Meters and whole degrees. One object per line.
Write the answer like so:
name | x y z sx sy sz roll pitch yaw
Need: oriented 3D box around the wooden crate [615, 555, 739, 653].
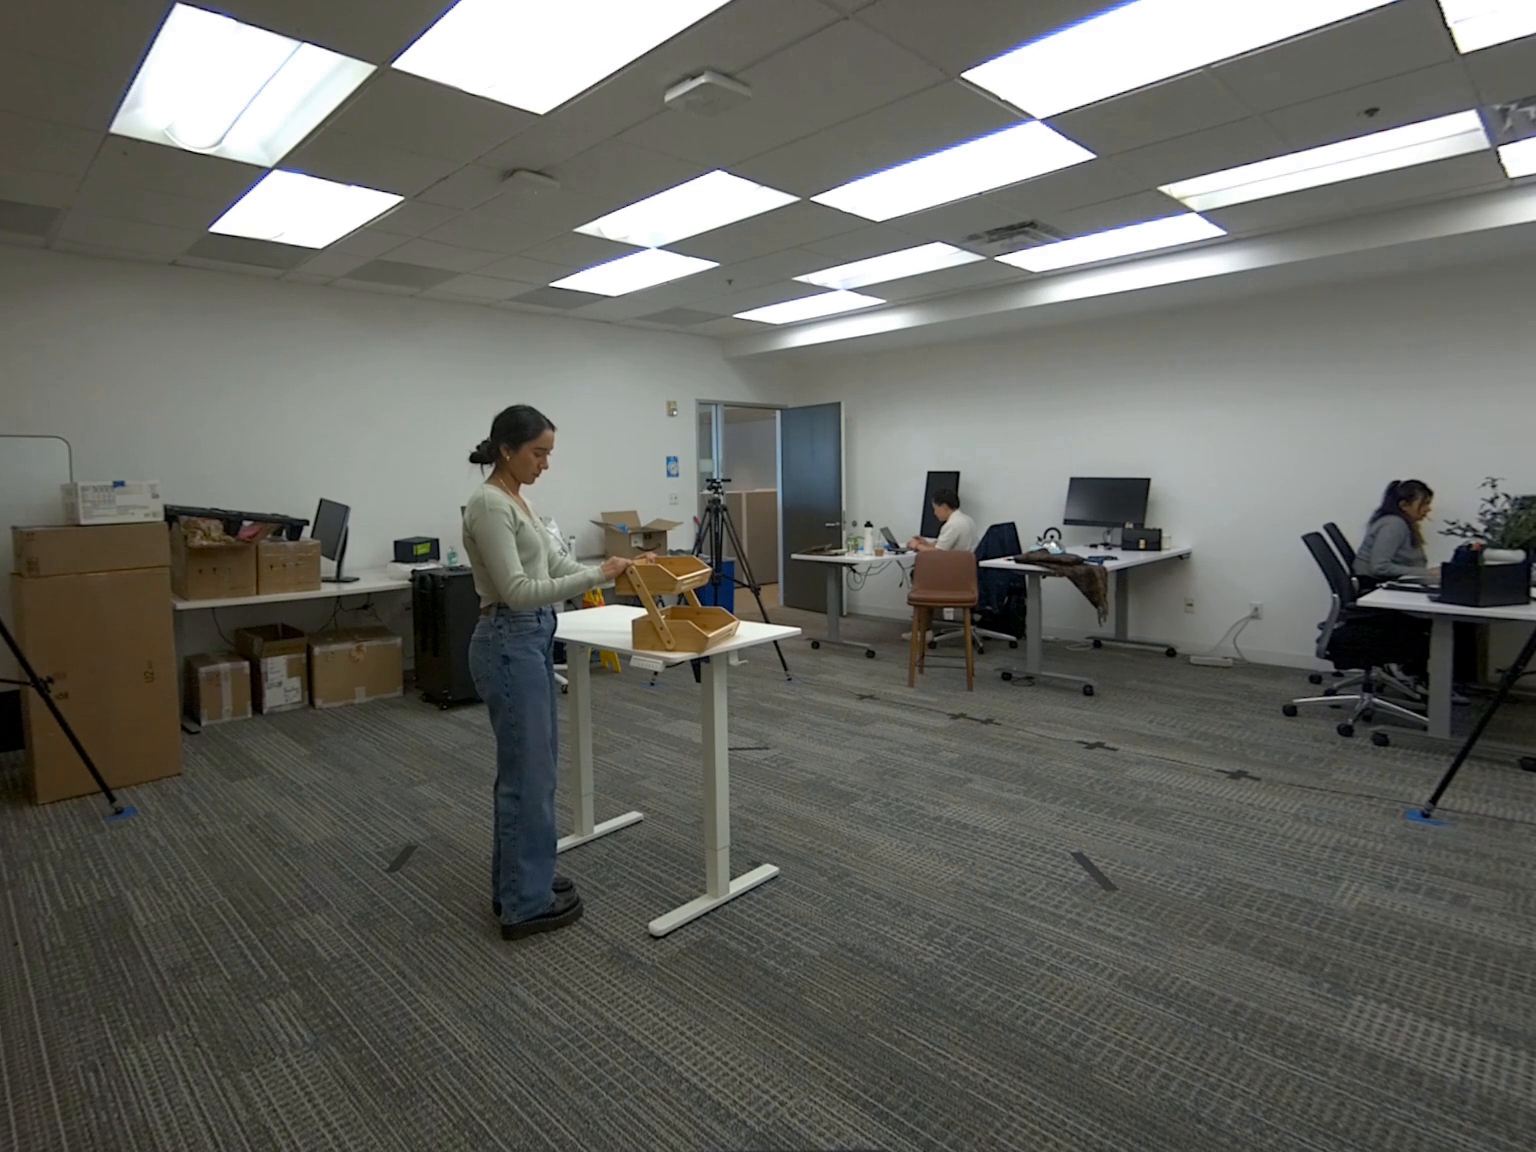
wooden crate | -0.282 0.075 2.702 0.307 0.272 0.320 1 5 18
